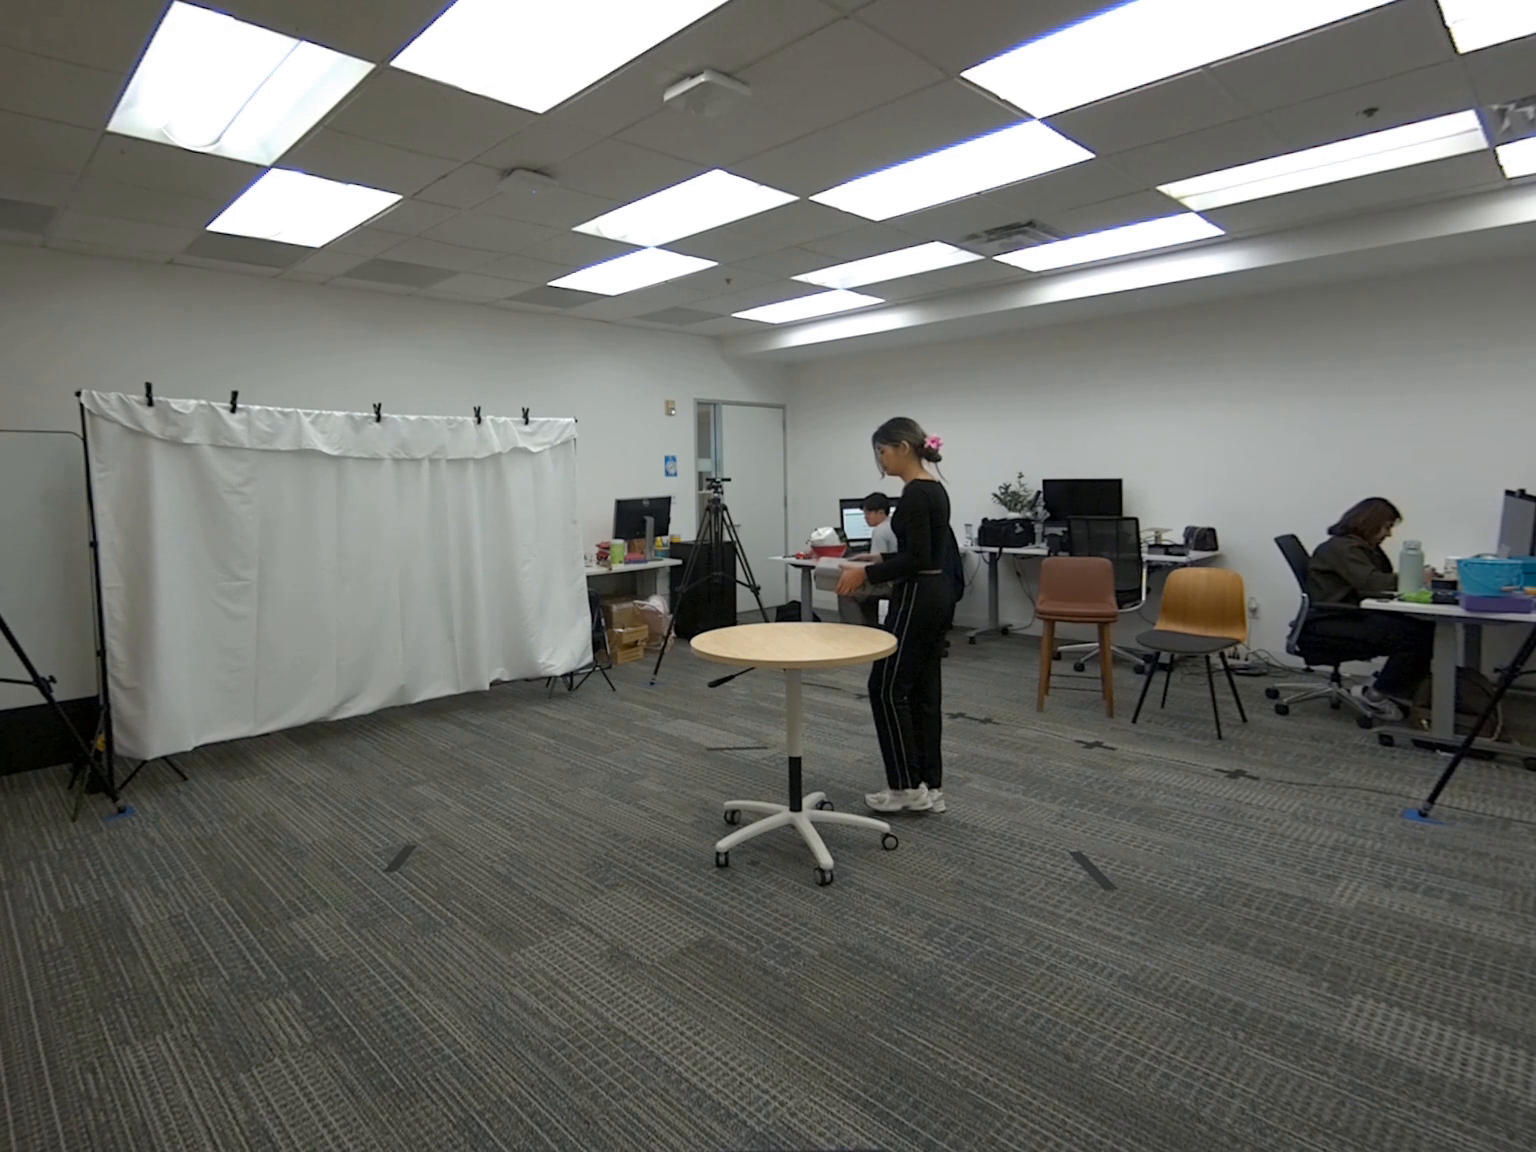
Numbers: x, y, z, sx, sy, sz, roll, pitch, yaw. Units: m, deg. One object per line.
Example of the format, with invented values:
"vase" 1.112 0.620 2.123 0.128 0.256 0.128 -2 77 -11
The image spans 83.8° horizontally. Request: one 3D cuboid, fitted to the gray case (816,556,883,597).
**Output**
"gray case" 0.339 -0.003 3.611 0.262 0.103 0.257 3 11 5
